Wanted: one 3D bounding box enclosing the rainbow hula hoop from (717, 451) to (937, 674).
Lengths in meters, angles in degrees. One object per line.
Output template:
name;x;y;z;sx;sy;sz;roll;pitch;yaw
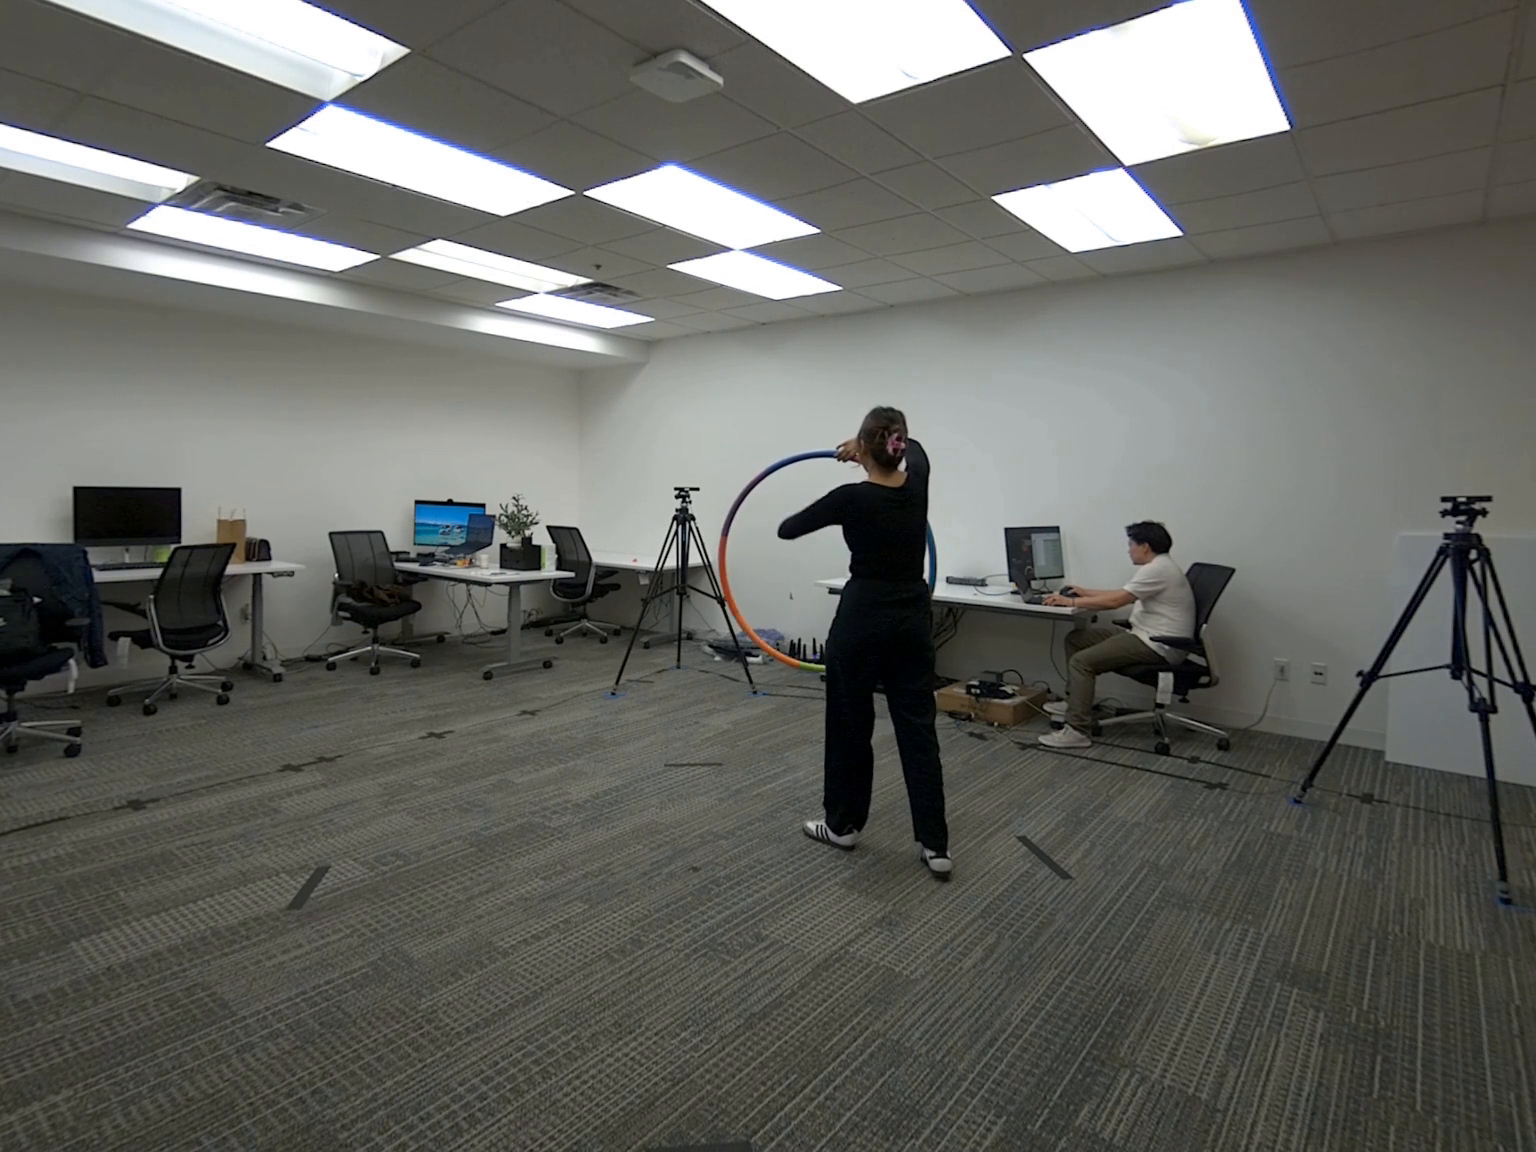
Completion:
rainbow hula hoop;0.237;-0.065;3.762;1.006;0.980;0.051;2;5;20
